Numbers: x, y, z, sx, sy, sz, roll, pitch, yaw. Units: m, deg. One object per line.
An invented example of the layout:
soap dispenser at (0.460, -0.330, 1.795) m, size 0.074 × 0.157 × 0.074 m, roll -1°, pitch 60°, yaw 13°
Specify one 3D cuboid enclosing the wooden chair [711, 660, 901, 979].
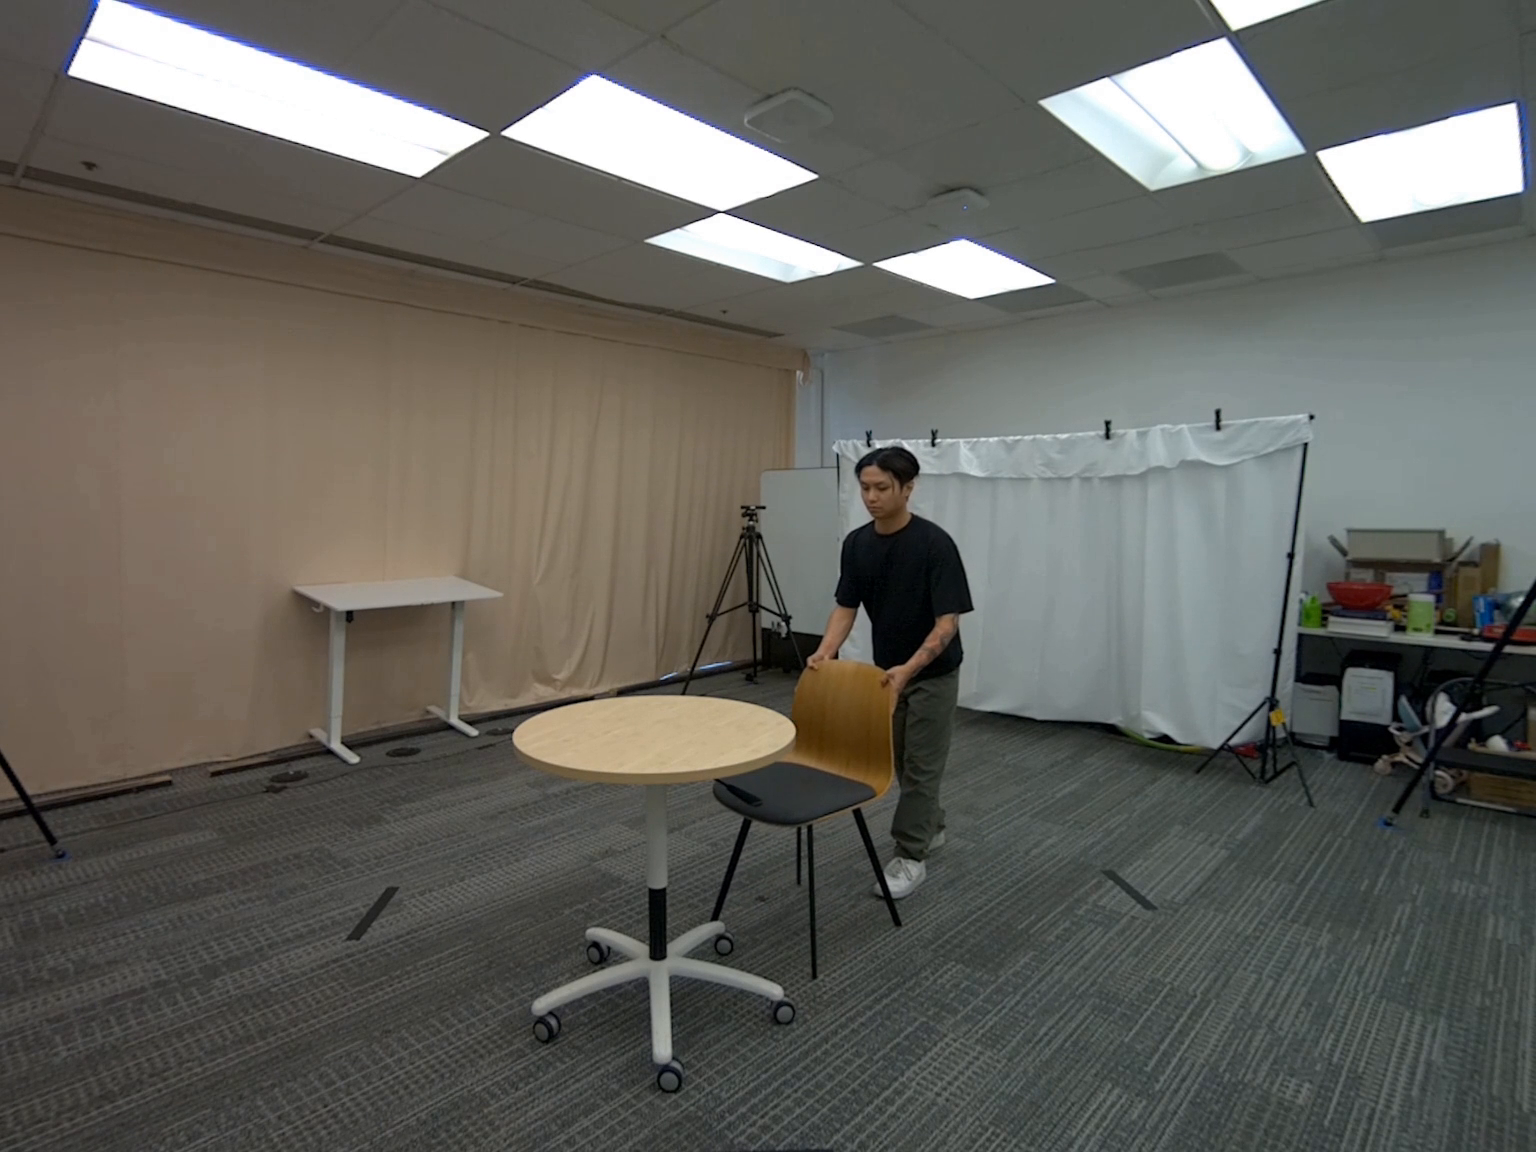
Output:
wooden chair at (0.123, 0.734, 2.756) m, size 0.494 × 0.877 × 0.506 m, roll 3°, pitch 1°, yaw 44°
